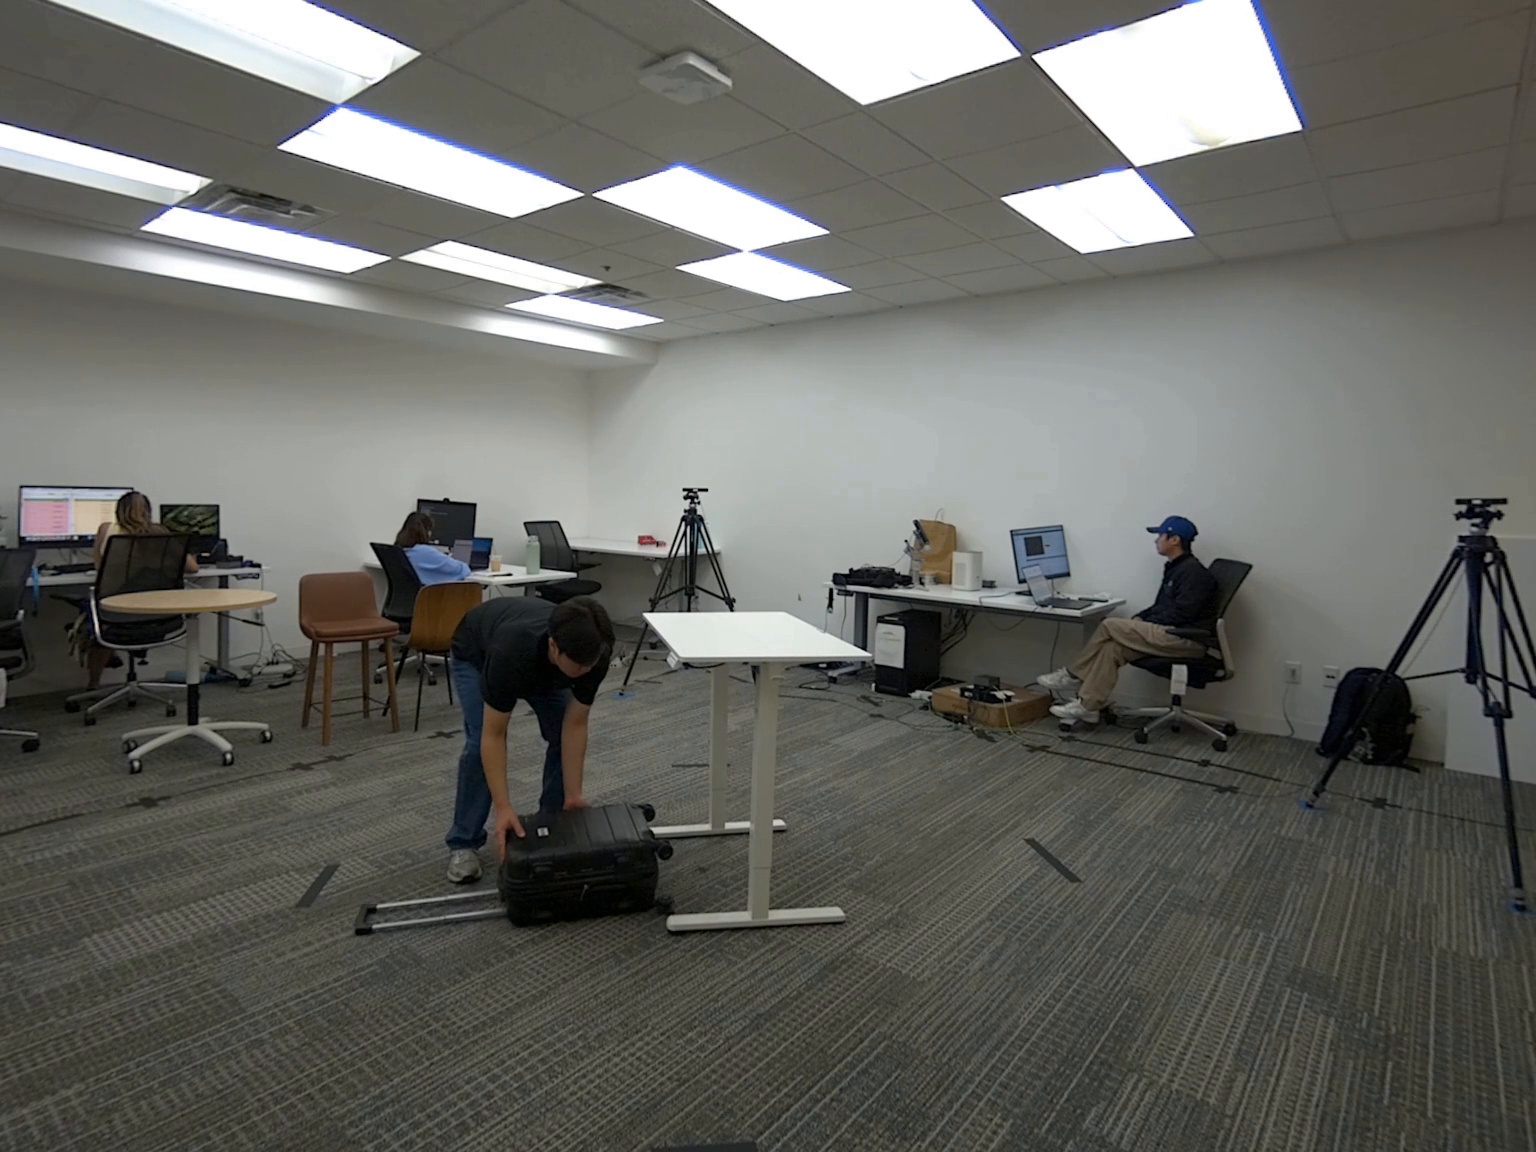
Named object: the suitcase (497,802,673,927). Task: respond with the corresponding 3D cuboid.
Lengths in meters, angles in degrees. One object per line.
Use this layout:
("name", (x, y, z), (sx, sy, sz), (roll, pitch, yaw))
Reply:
("suitcase", (-0.823, 0.964, 2.812), (0.962, 0.255, 0.393), (0, 7, -16))
